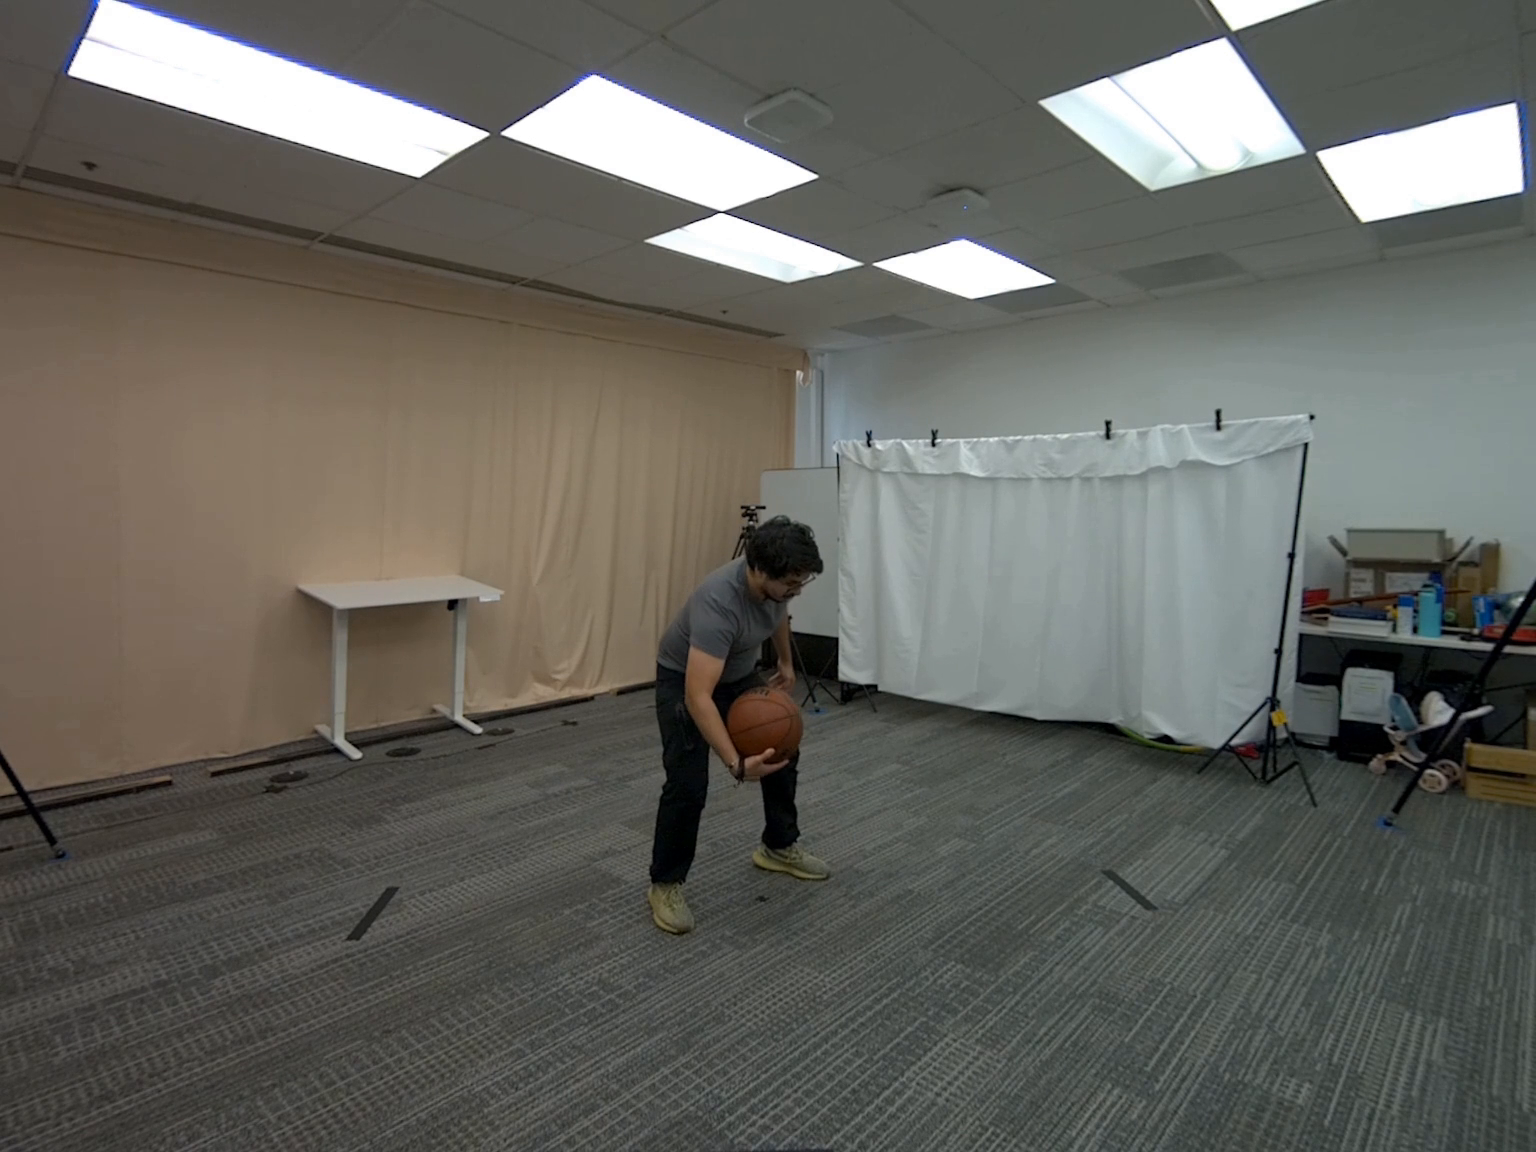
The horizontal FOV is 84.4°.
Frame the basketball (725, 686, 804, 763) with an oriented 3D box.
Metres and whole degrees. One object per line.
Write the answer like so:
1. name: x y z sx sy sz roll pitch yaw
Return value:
1. basketball: -0.010 0.466 2.597 0.236 0.235 0.237 0 4 -2
